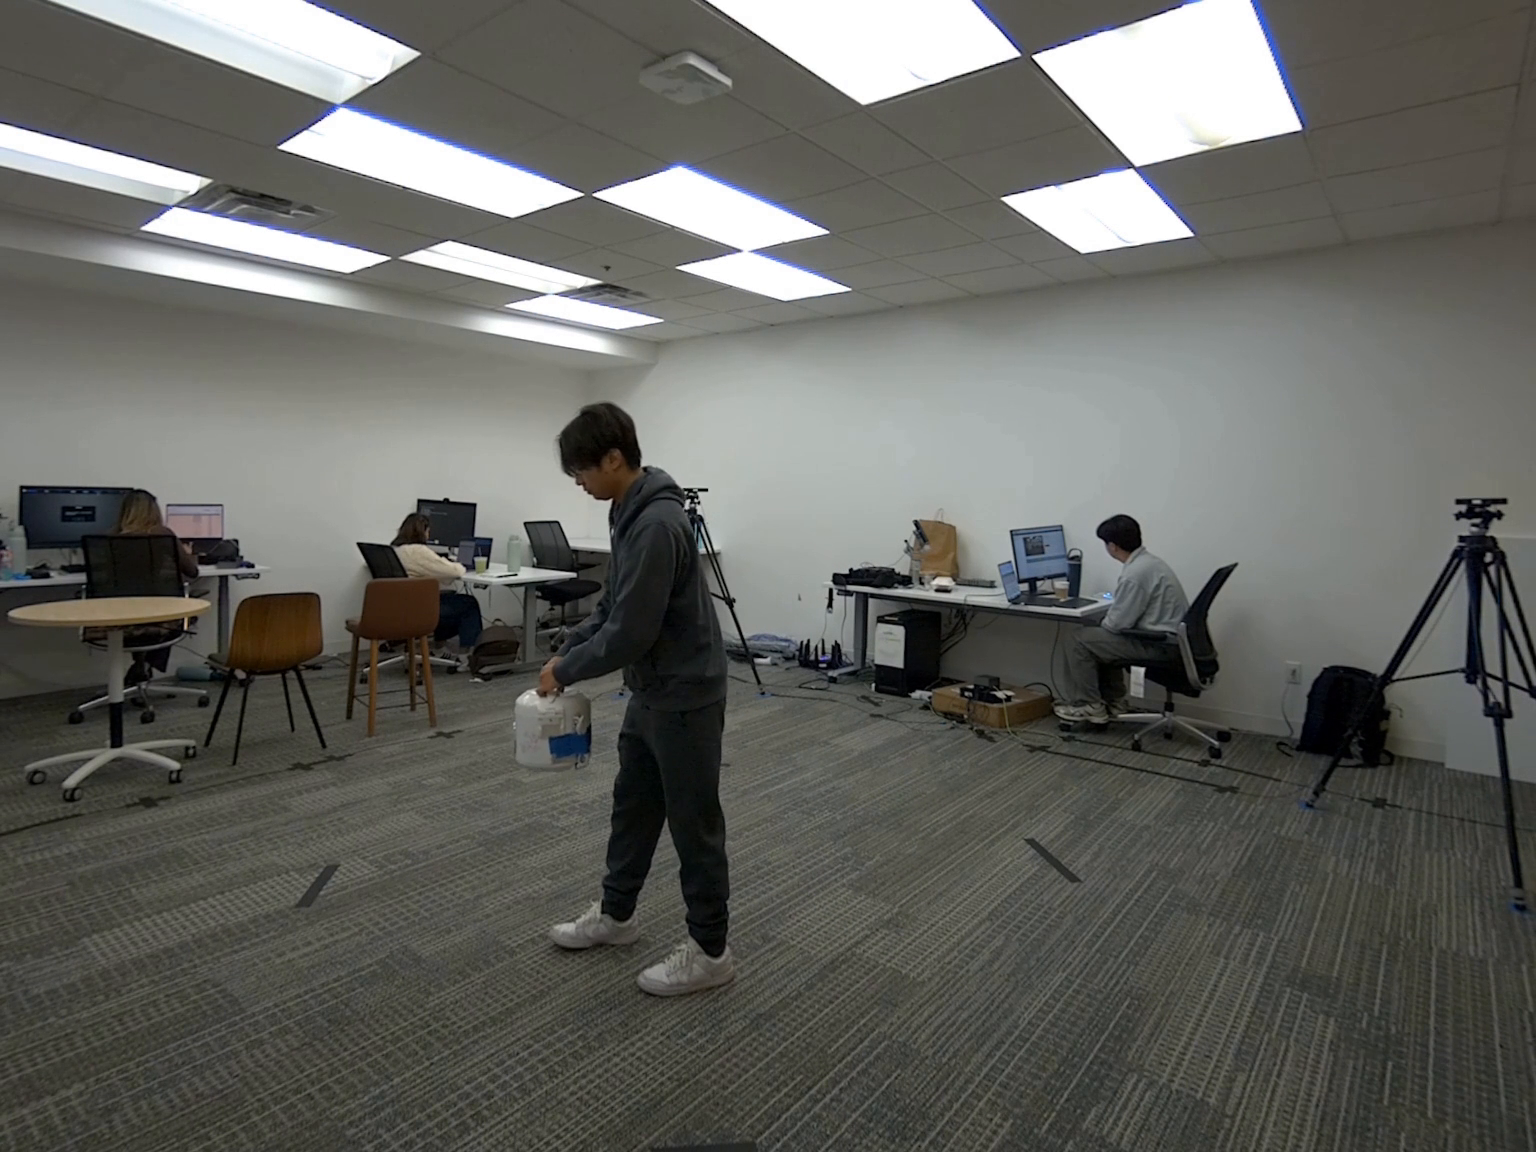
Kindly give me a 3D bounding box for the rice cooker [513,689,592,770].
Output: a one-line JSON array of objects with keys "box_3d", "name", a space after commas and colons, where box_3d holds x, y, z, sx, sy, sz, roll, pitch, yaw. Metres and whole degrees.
[{"box_3d": [-0.626, 0.423, 2.403, 0.216, 0.232, 0.223, 0, 3, -8], "name": "rice cooker"}]
